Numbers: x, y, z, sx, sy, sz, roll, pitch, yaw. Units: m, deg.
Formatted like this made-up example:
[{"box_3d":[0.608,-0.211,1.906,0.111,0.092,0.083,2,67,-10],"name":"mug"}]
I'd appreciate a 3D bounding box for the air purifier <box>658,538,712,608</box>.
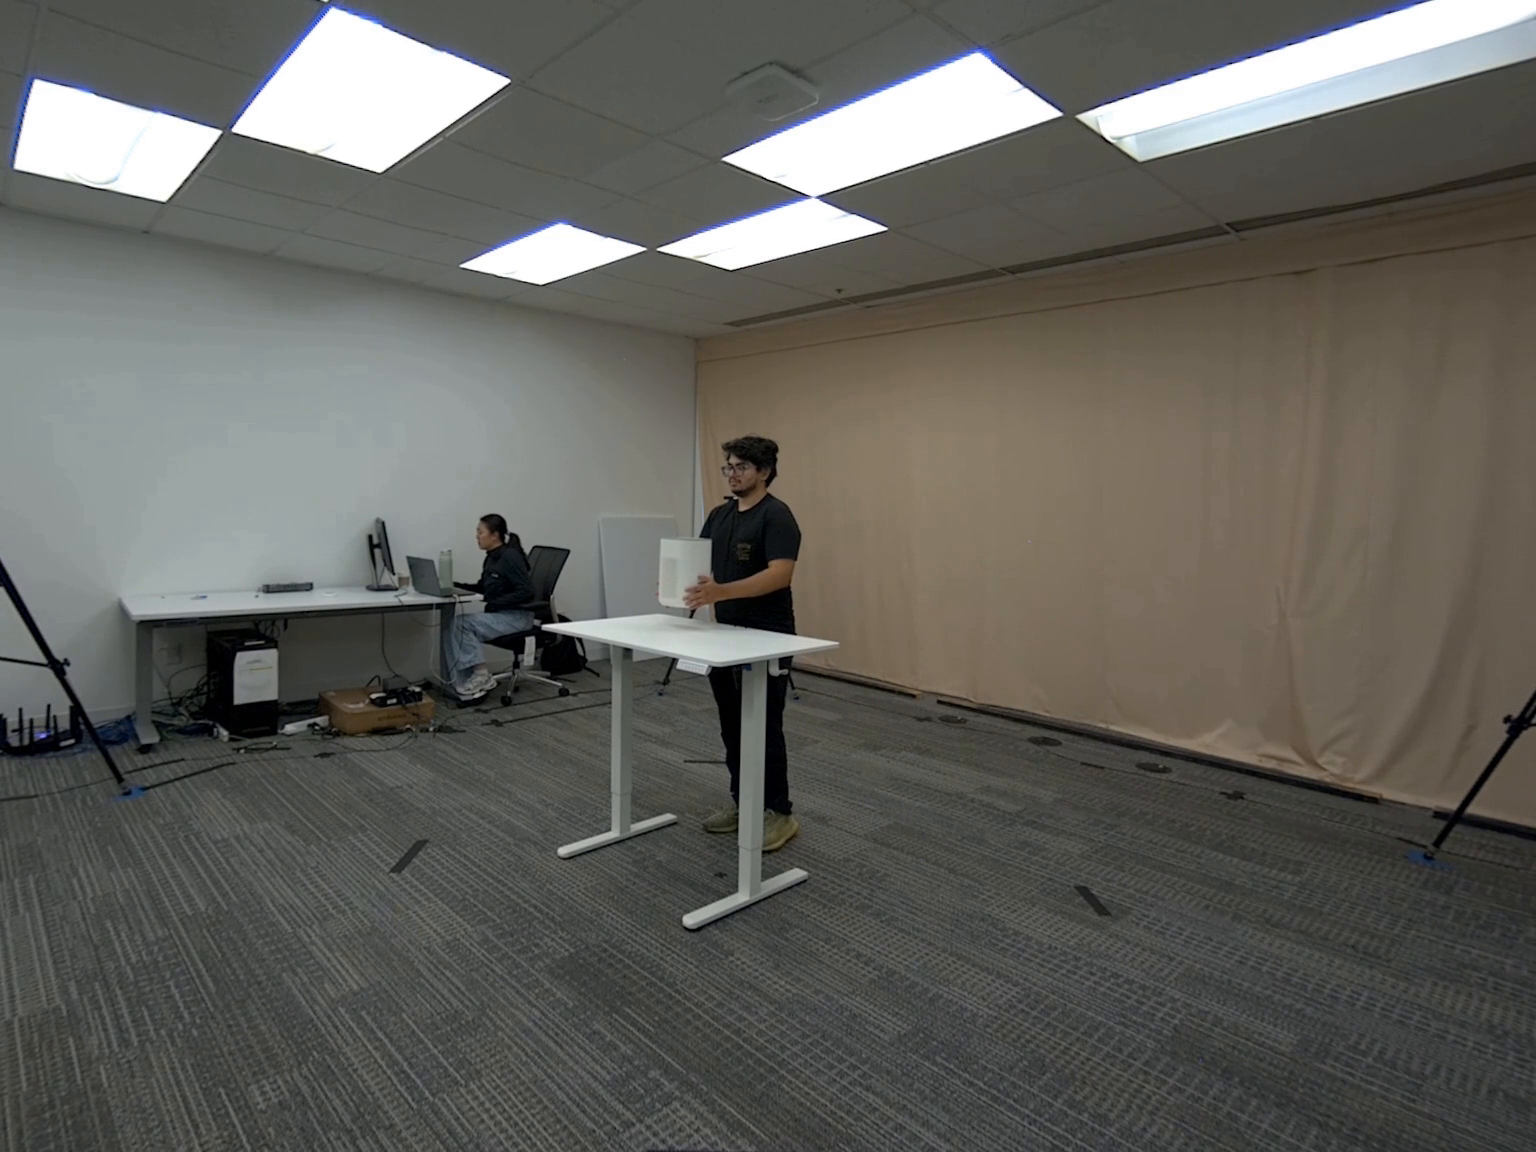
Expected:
[{"box_3d":[-0.331,-0.017,3.269,0.176,0.265,0.167,3,2,40],"name":"air purifier"}]
